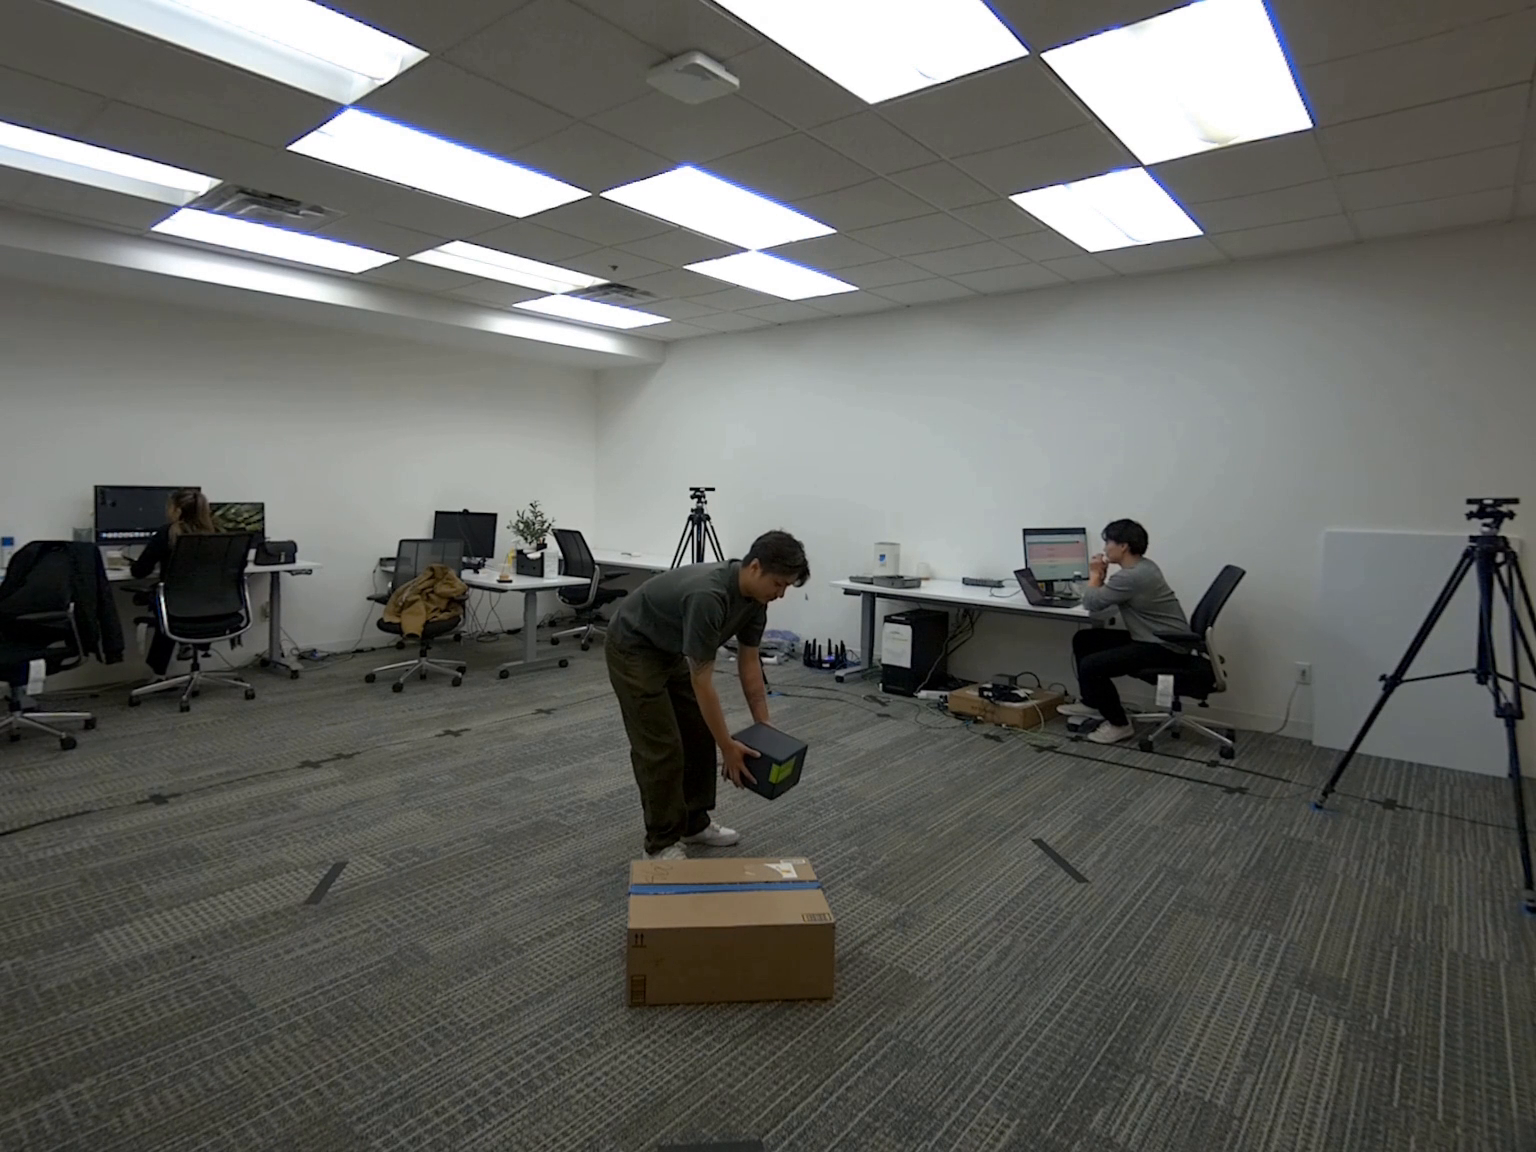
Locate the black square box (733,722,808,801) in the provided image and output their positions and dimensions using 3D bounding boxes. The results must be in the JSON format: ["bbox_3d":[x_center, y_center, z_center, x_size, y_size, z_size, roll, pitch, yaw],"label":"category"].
[{"bbox_3d":[-0.018,0.667,3.083,0.224,0.155,0.222,18,12,26],"label":"black square box"}]
